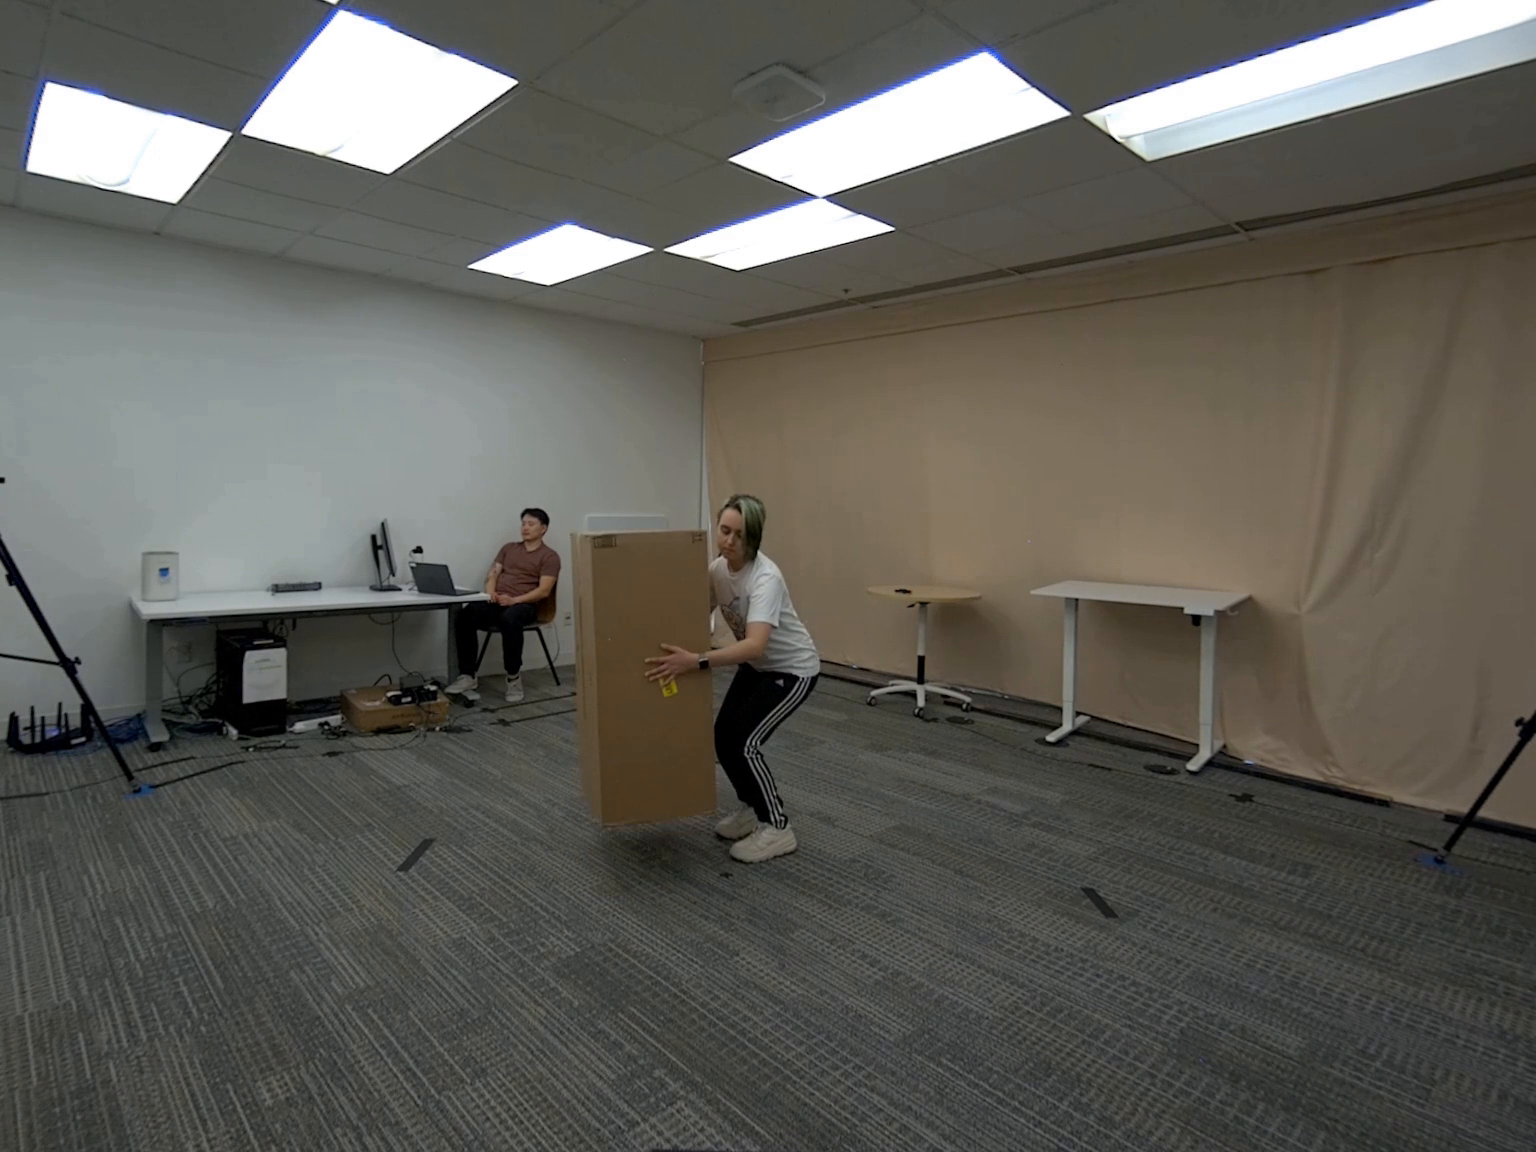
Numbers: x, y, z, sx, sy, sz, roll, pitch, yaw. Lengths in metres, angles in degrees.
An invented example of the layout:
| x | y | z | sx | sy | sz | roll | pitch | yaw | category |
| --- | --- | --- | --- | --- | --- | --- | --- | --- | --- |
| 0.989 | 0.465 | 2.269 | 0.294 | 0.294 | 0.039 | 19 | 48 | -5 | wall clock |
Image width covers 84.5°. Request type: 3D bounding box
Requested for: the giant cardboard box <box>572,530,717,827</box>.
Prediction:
| x | y | z | sx | sy | sz | roll | pitch | yaw | category |
| --- | --- | --- | --- | --- | --- | --- | --- | --- | --- |
| -0.503 | 0.342 | 3.234 | 0.440 | 1.025 | 0.593 | -3 | 2 | -20 | giant cardboard box |
